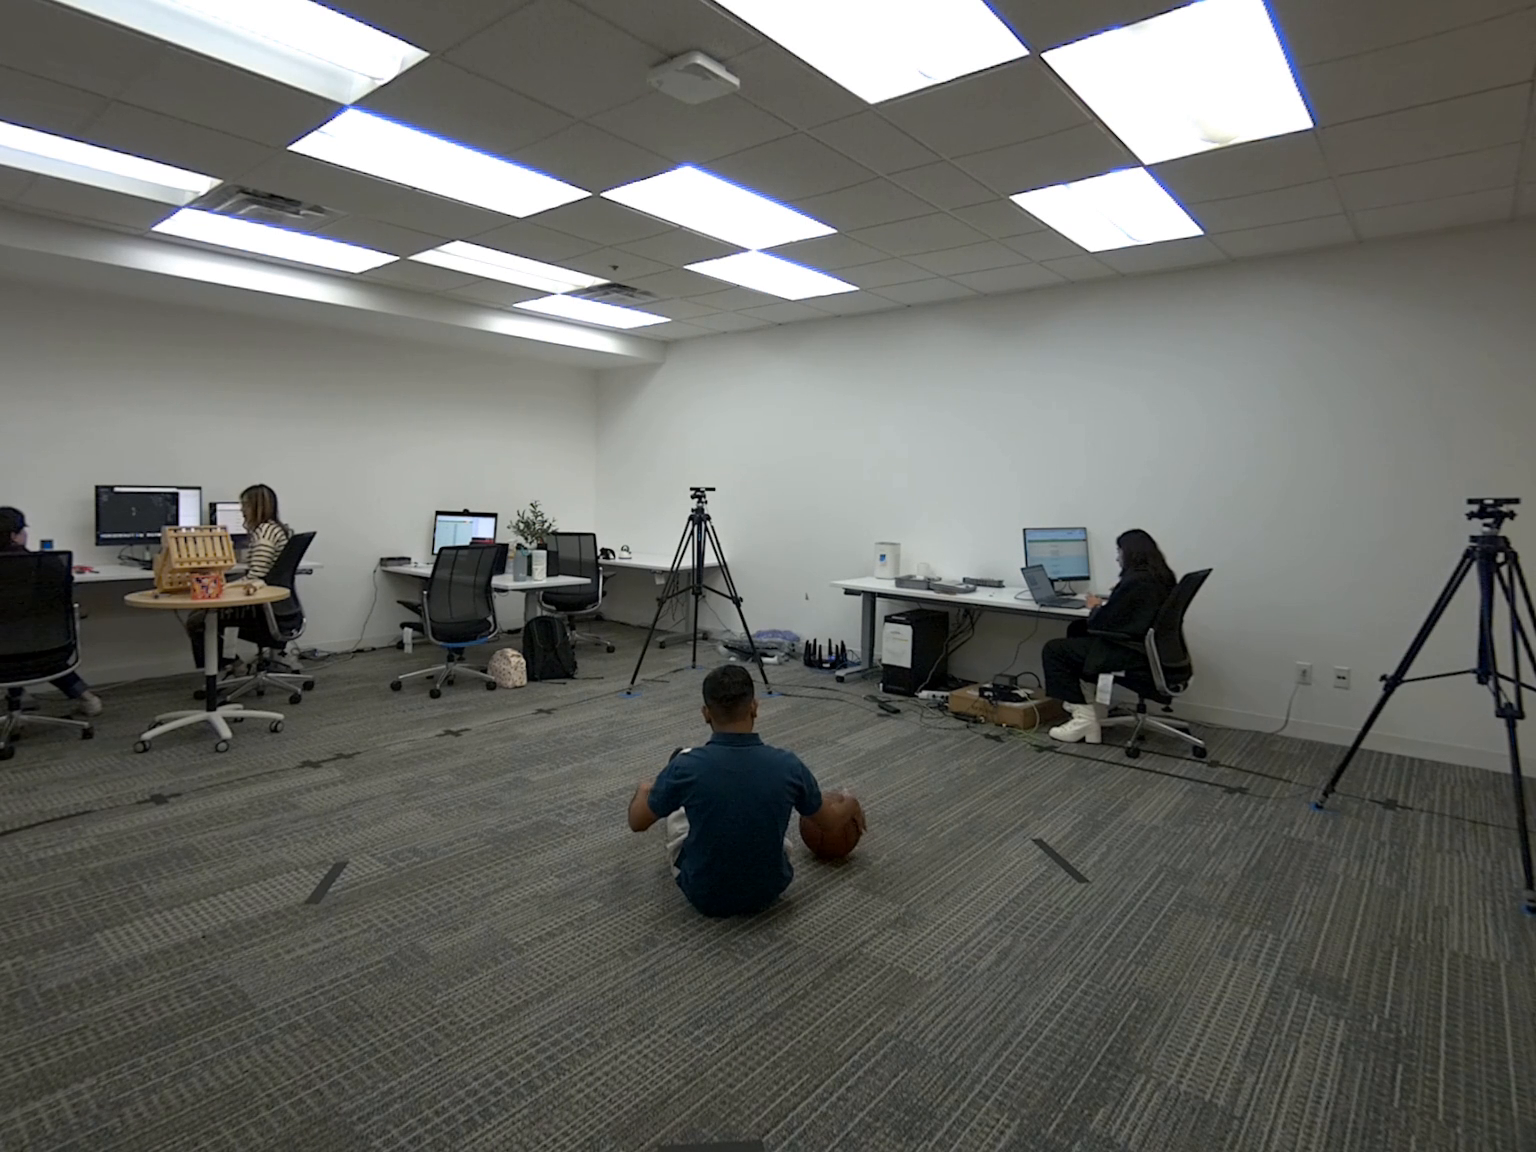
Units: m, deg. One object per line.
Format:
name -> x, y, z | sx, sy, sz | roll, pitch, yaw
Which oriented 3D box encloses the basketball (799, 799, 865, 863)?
basketball -> 0.204, 0.939, 3.226 | 0.235, 0.235, 0.237 | 1, 4, -2
